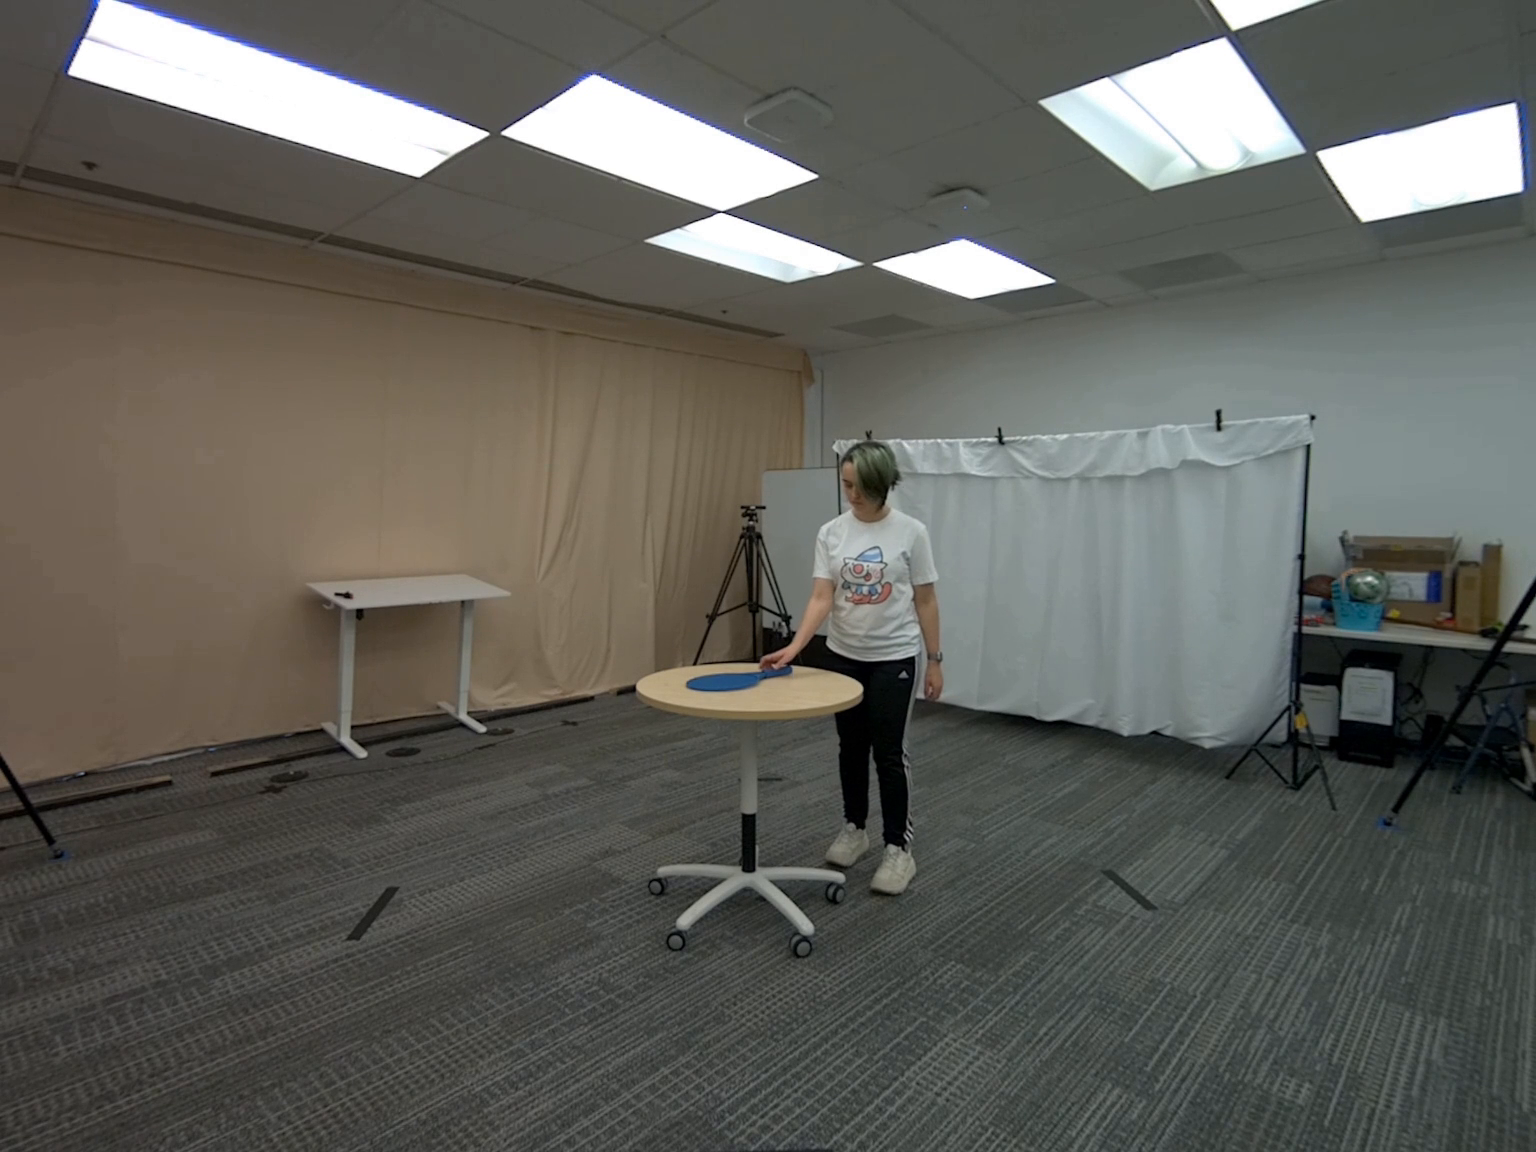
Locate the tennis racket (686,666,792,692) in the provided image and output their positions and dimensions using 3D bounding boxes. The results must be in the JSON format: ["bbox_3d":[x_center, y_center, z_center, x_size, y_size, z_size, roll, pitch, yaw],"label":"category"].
[{"bbox_3d":[-0.091,0.358,2.897,0.421,0.031,0.220,-5,7,-34],"label":"tennis racket"}]
